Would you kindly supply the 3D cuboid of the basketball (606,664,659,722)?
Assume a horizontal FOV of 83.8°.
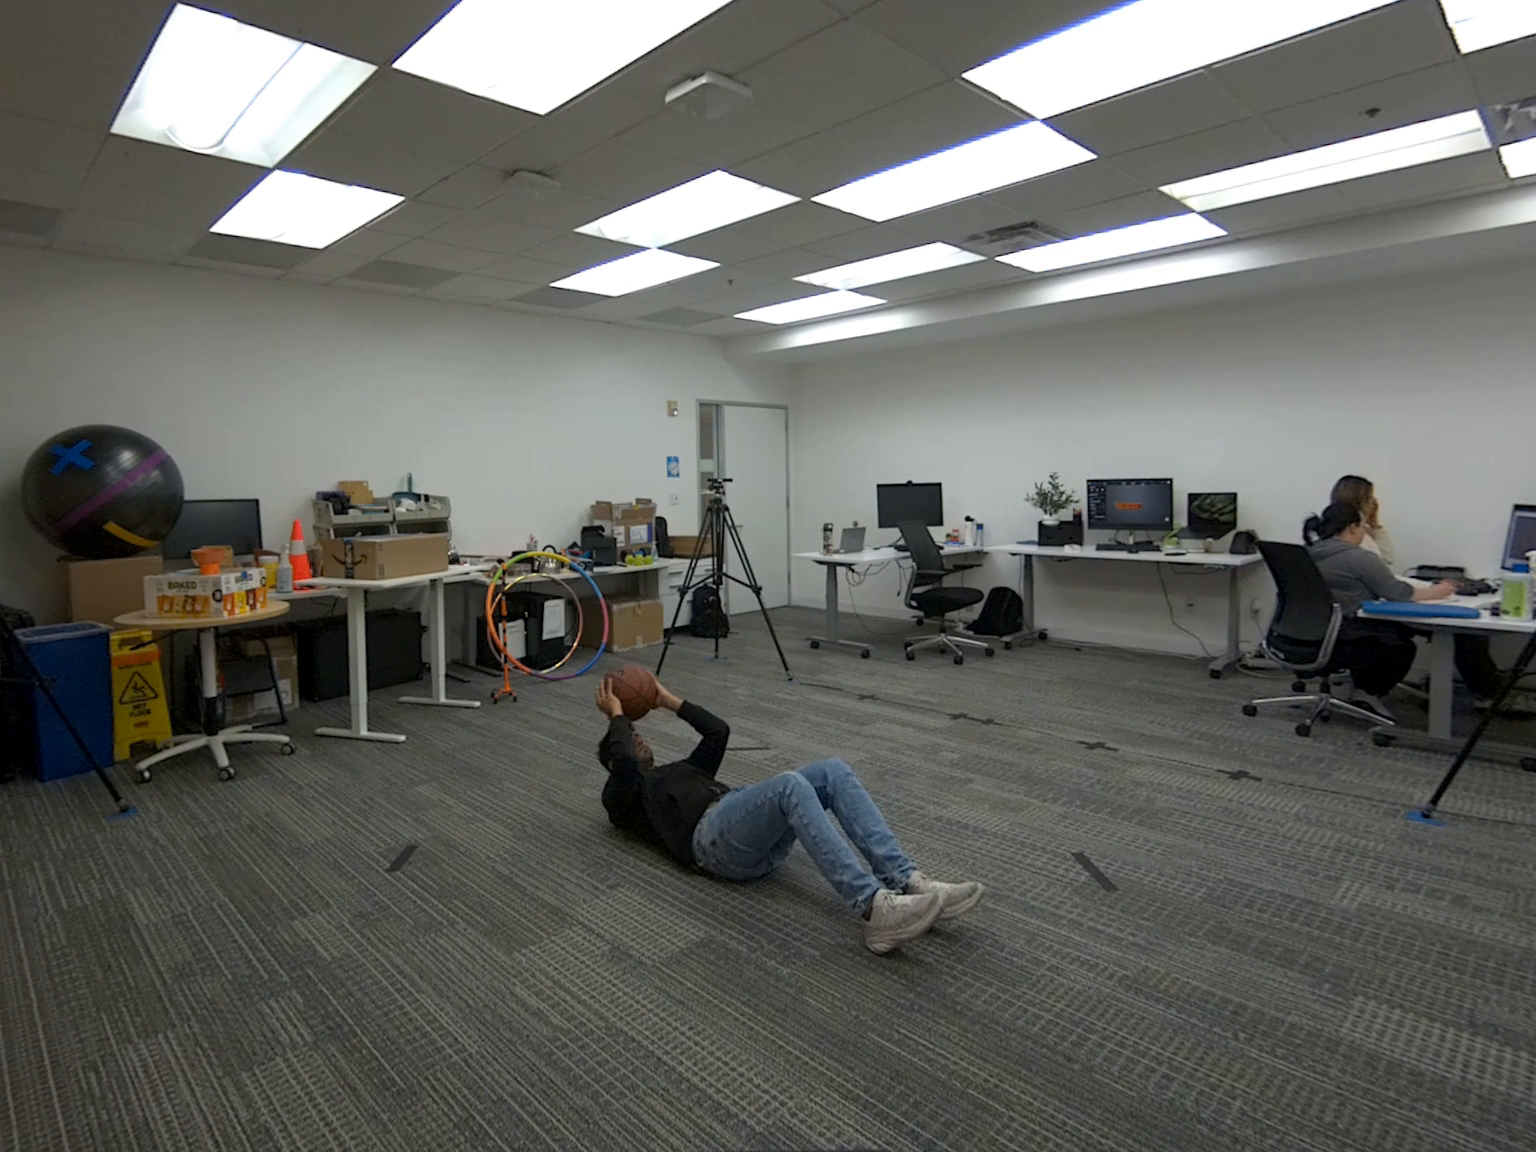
[{"bbox_3d":[-0.572,0.490,3.550,0.236,0.235,0.237,-1,5,-2],"label":"basketball"}]
